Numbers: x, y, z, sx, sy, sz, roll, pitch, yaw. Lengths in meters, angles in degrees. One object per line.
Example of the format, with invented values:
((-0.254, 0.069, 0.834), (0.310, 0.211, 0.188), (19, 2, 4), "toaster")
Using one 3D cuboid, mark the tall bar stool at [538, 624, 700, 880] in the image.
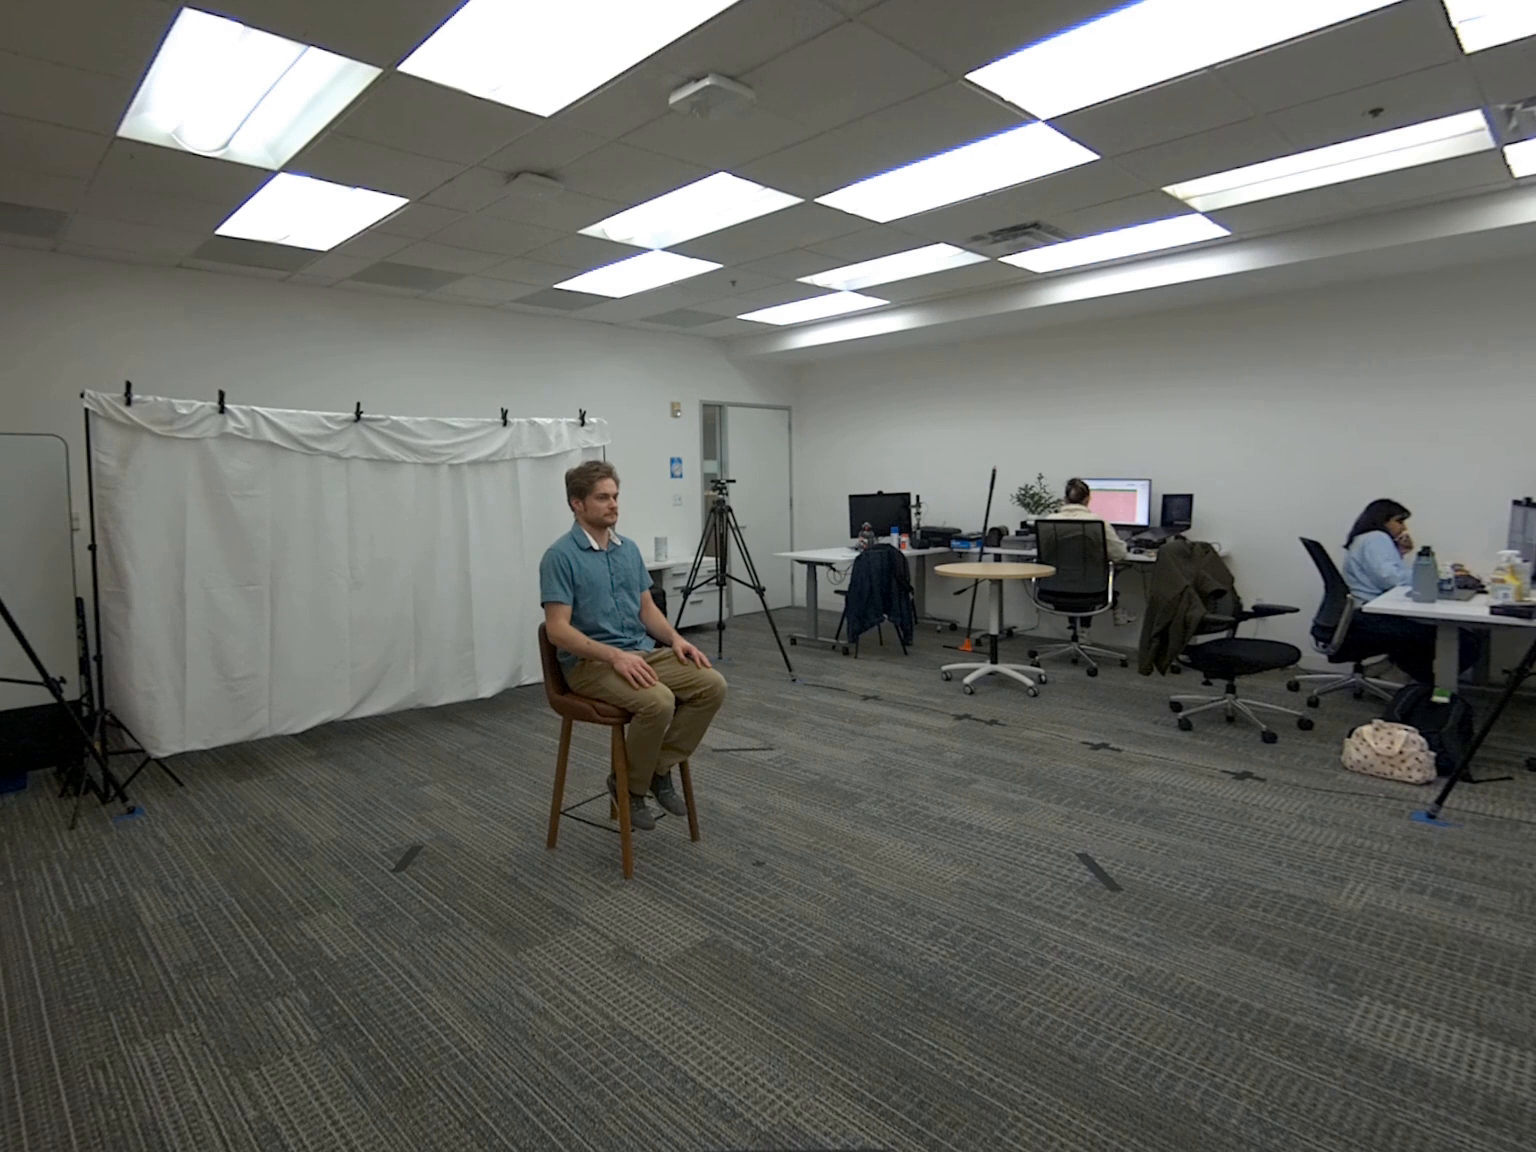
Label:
((-0.579, 0.601, 3.285), (0.480, 0.888, 0.445), (-1, 2, 36), "tall bar stool")
